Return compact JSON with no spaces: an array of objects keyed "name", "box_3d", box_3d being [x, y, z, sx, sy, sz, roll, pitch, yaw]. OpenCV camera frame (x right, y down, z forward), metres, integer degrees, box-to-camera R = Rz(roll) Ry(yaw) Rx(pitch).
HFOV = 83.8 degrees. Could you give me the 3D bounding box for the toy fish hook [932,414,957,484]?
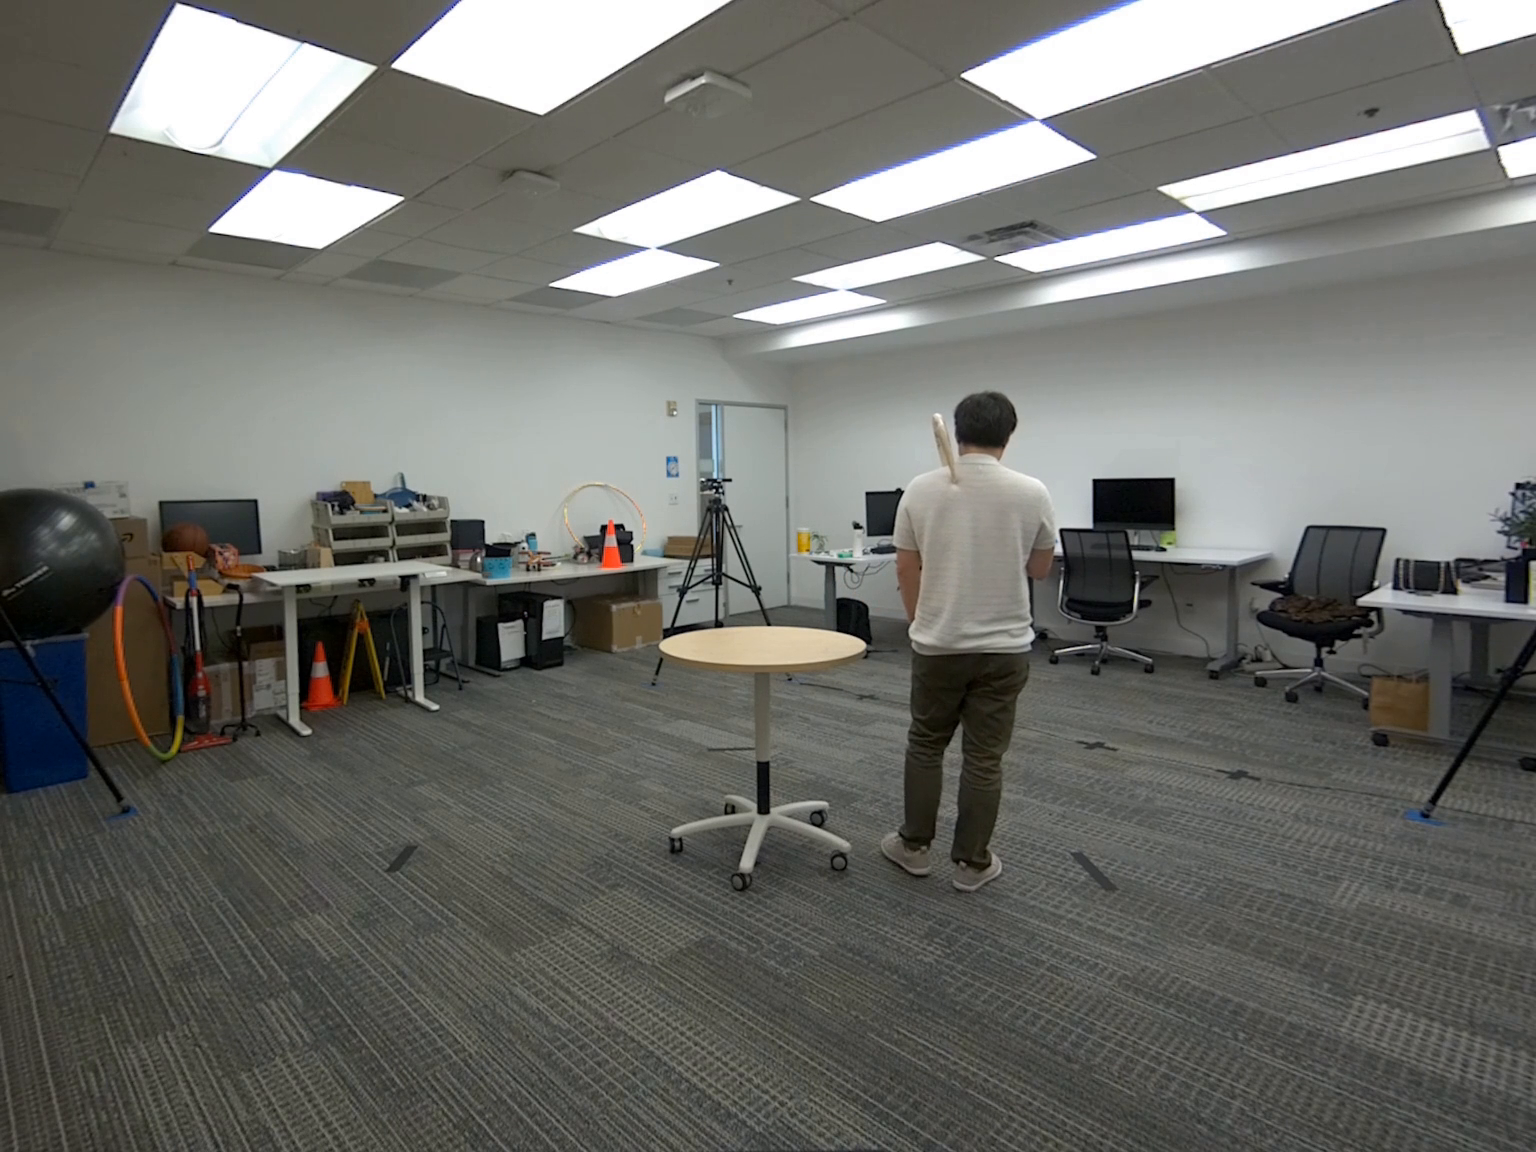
[{"name":"toy fish hook","box_3d":[0.636,-0.315,2.907,0.049,0.491,0.229,-12,31,14]}]
